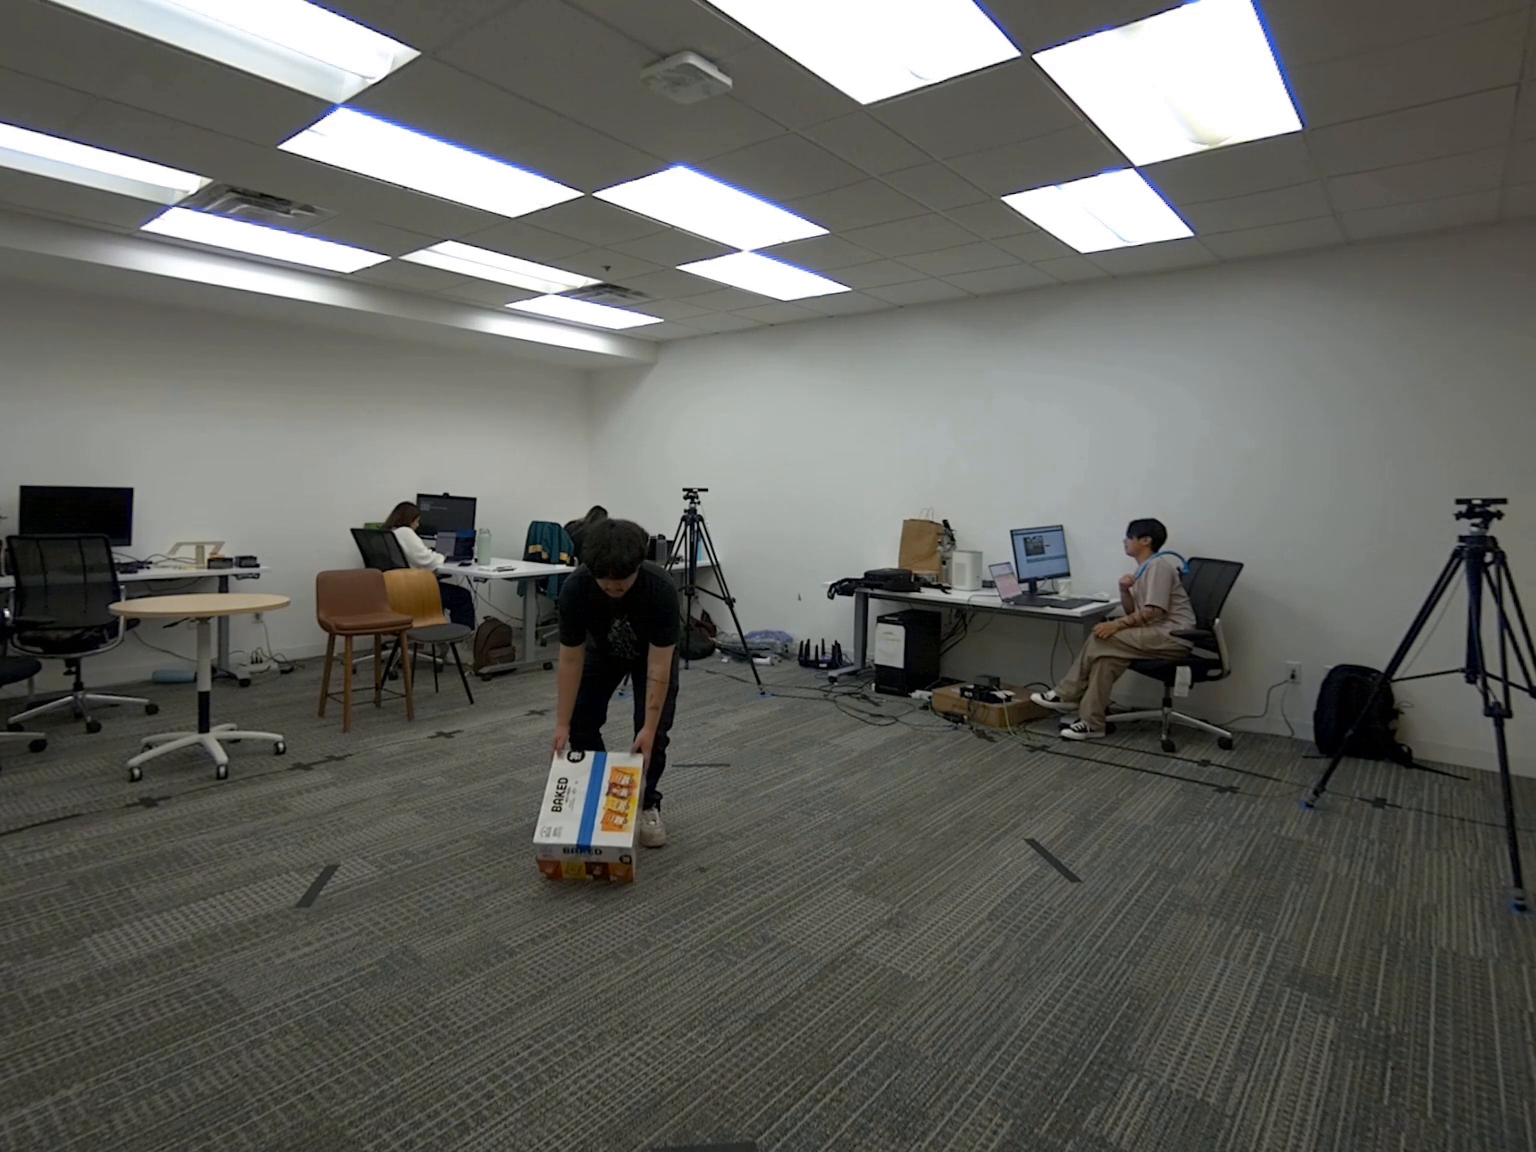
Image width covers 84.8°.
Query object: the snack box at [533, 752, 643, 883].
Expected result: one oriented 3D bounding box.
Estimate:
[{"bbox_3d":[-0.647,0.865,3.109,0.340,0.200,0.416,1,37,-2],"label":"snack box"}]
